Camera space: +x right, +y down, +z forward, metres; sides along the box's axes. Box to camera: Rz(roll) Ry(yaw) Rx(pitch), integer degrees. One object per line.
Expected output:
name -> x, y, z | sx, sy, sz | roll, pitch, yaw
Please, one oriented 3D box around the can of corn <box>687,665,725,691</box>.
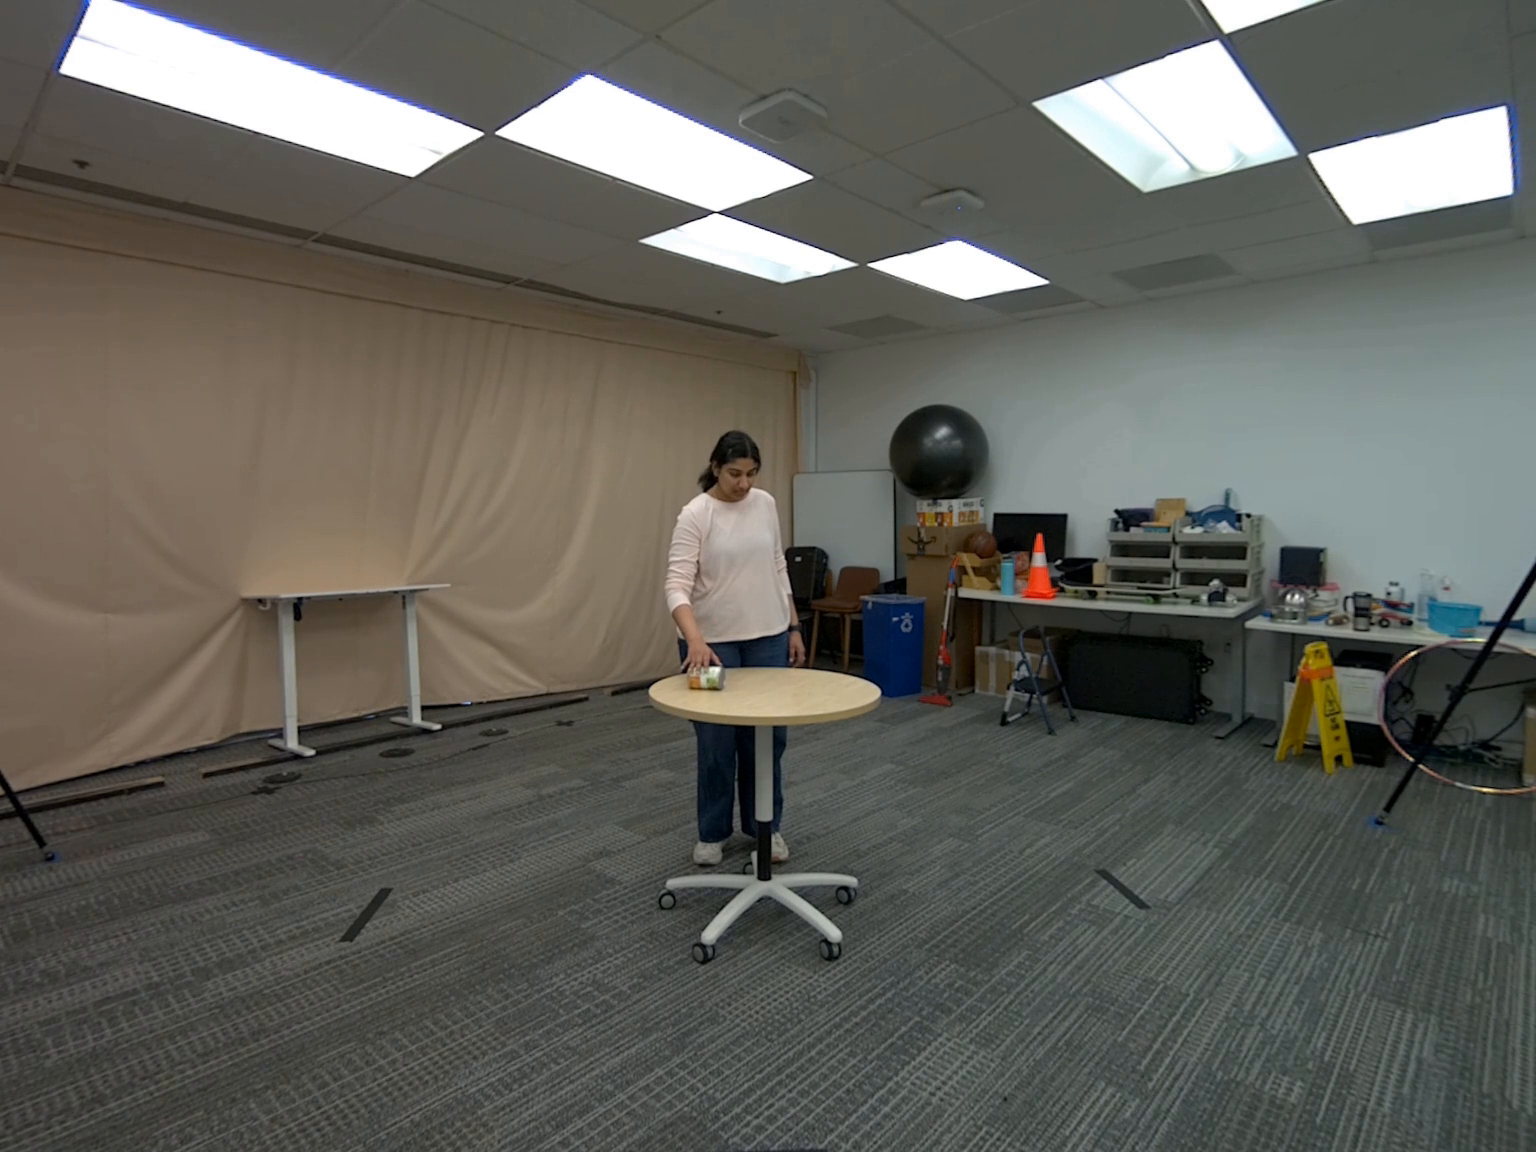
can of corn -> -0.206, 0.339, 2.810 | 0.113, 0.074, 0.073 | -1, 3, 14
